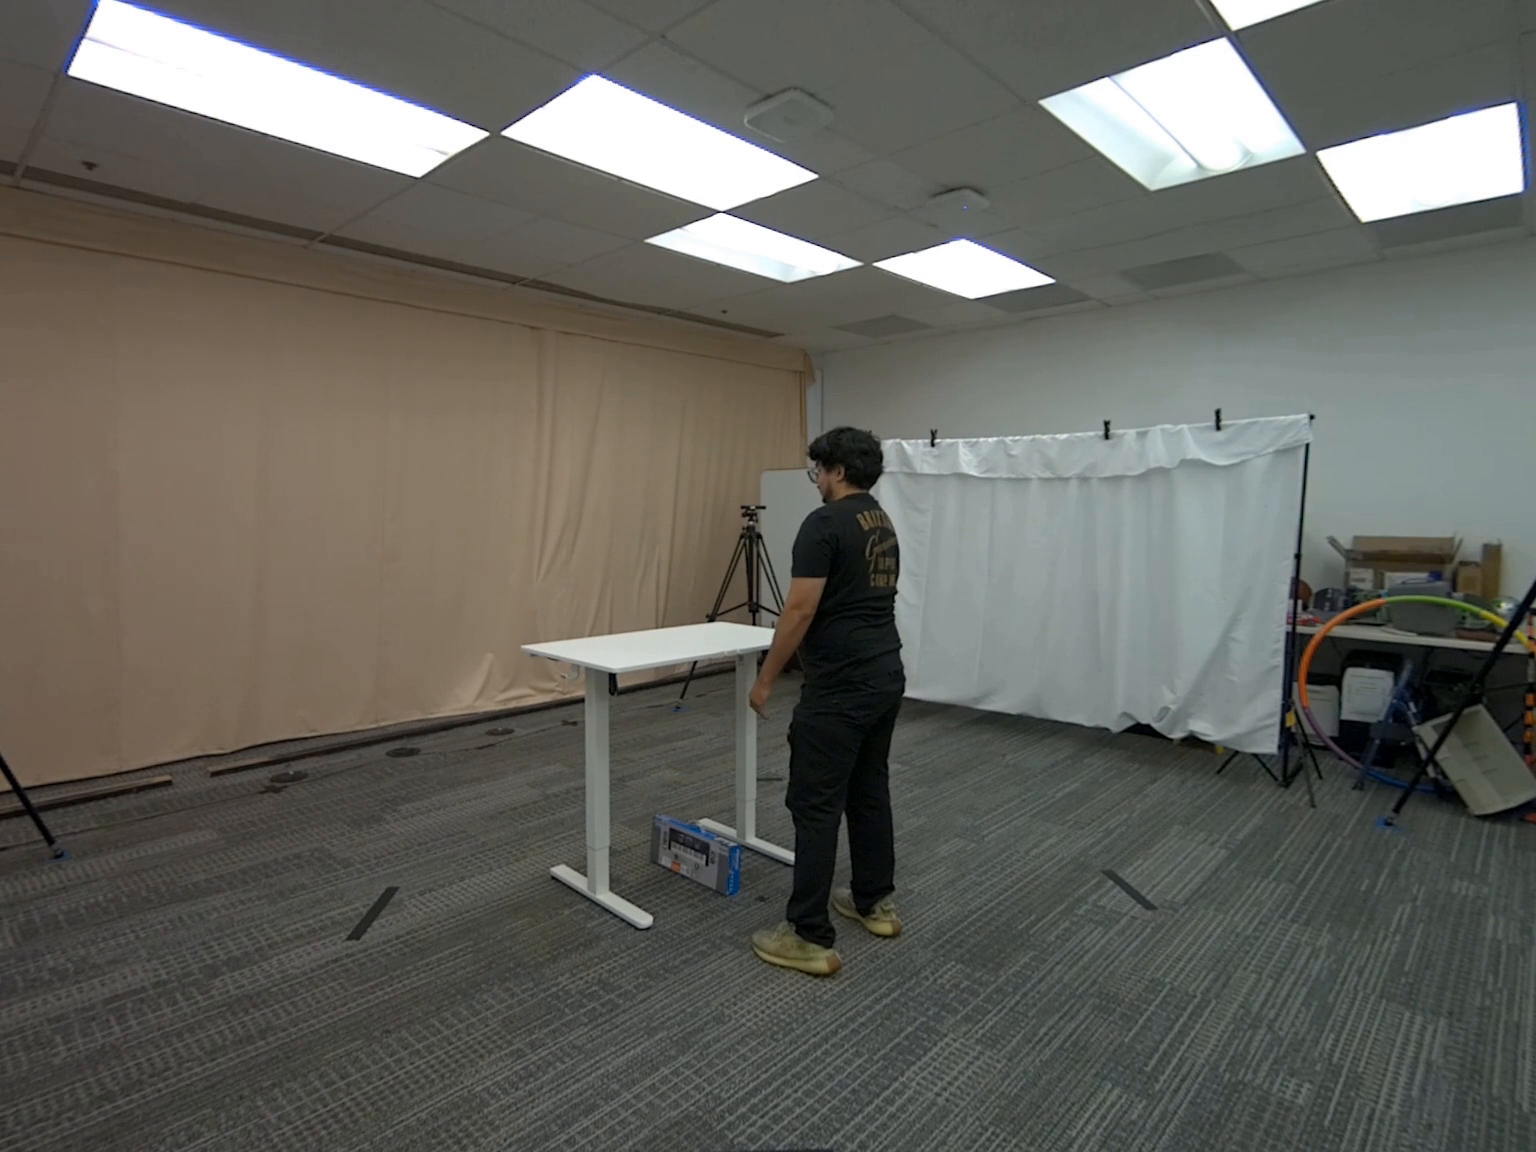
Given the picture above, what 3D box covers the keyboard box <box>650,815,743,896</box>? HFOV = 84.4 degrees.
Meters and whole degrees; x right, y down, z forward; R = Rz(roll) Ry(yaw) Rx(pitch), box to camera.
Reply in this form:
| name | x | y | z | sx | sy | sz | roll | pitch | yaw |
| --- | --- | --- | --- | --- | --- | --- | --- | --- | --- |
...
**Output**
| name | x | y | z | sx | sy | sz | roll | pitch | yaw |
| --- | --- | --- | --- | --- | --- | --- | --- | --- | --- |
| keyboard box | -0.279 | 1.043 | 3.170 | 0.451 | 0.176 | 0.057 | 4 | 0 | 44 |
